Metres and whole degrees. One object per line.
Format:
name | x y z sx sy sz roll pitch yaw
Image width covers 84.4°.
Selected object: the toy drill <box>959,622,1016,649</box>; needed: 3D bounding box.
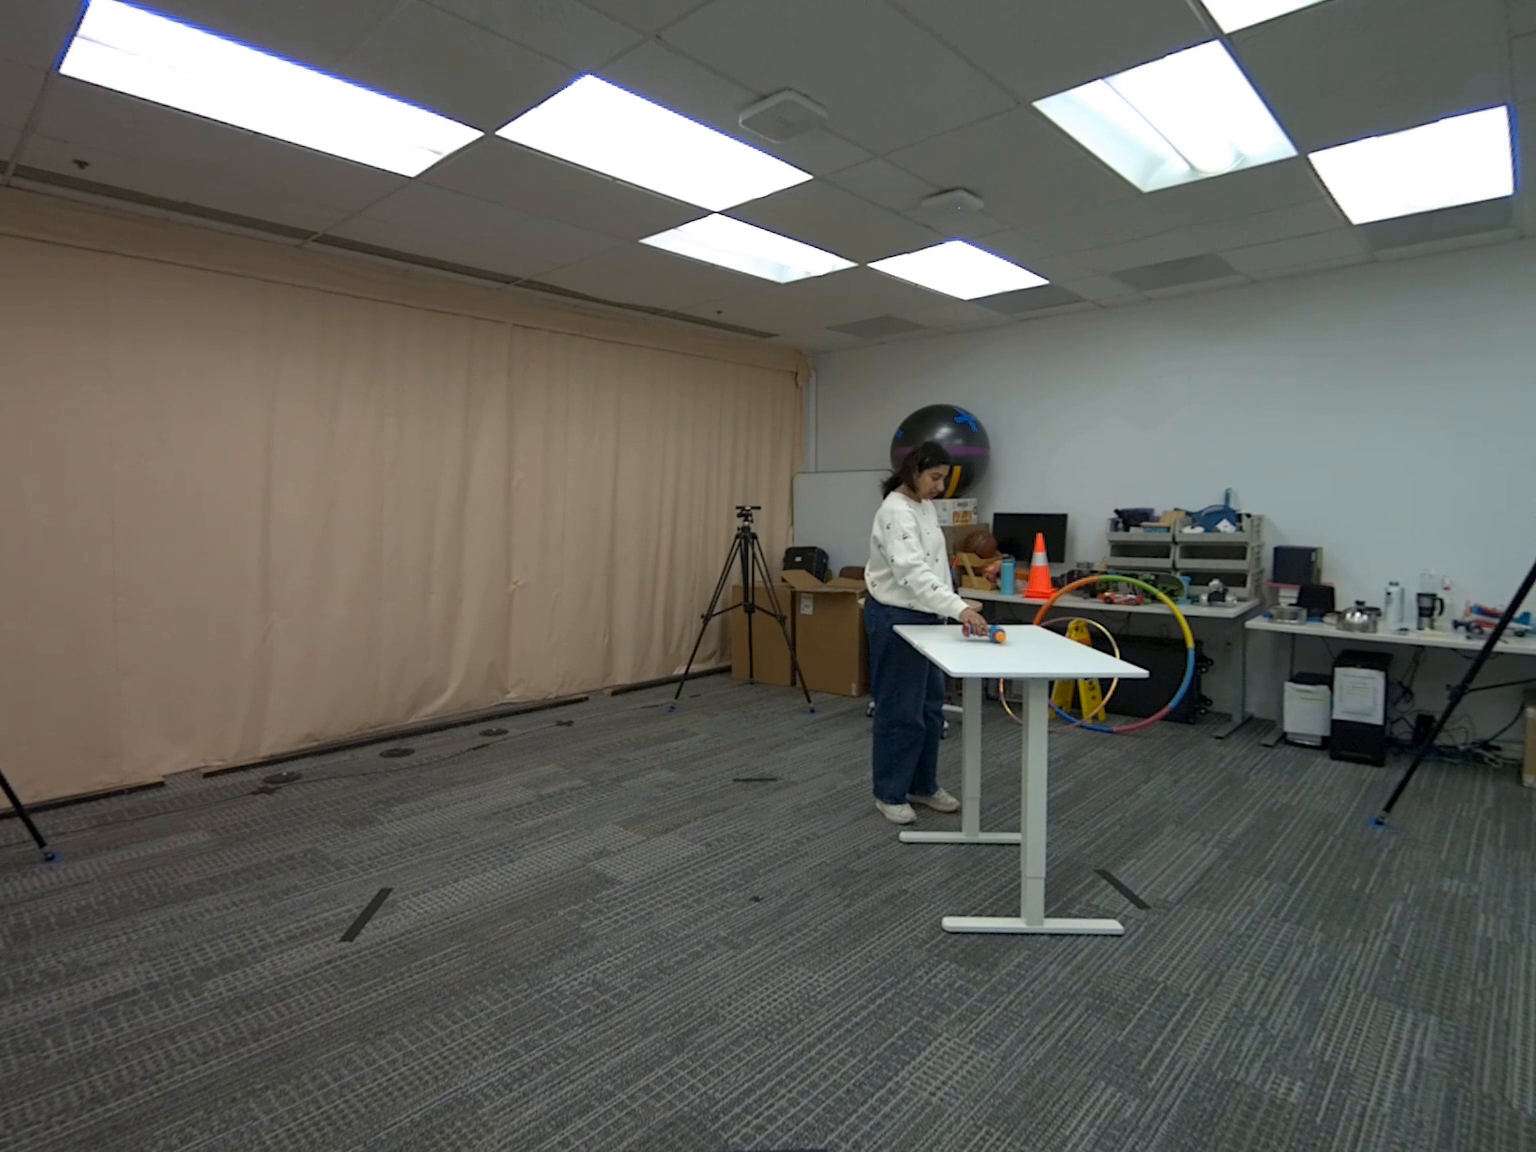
toy drill | 0.801 0.216 3.112 0.145 0.061 0.171 -1 8 -4
